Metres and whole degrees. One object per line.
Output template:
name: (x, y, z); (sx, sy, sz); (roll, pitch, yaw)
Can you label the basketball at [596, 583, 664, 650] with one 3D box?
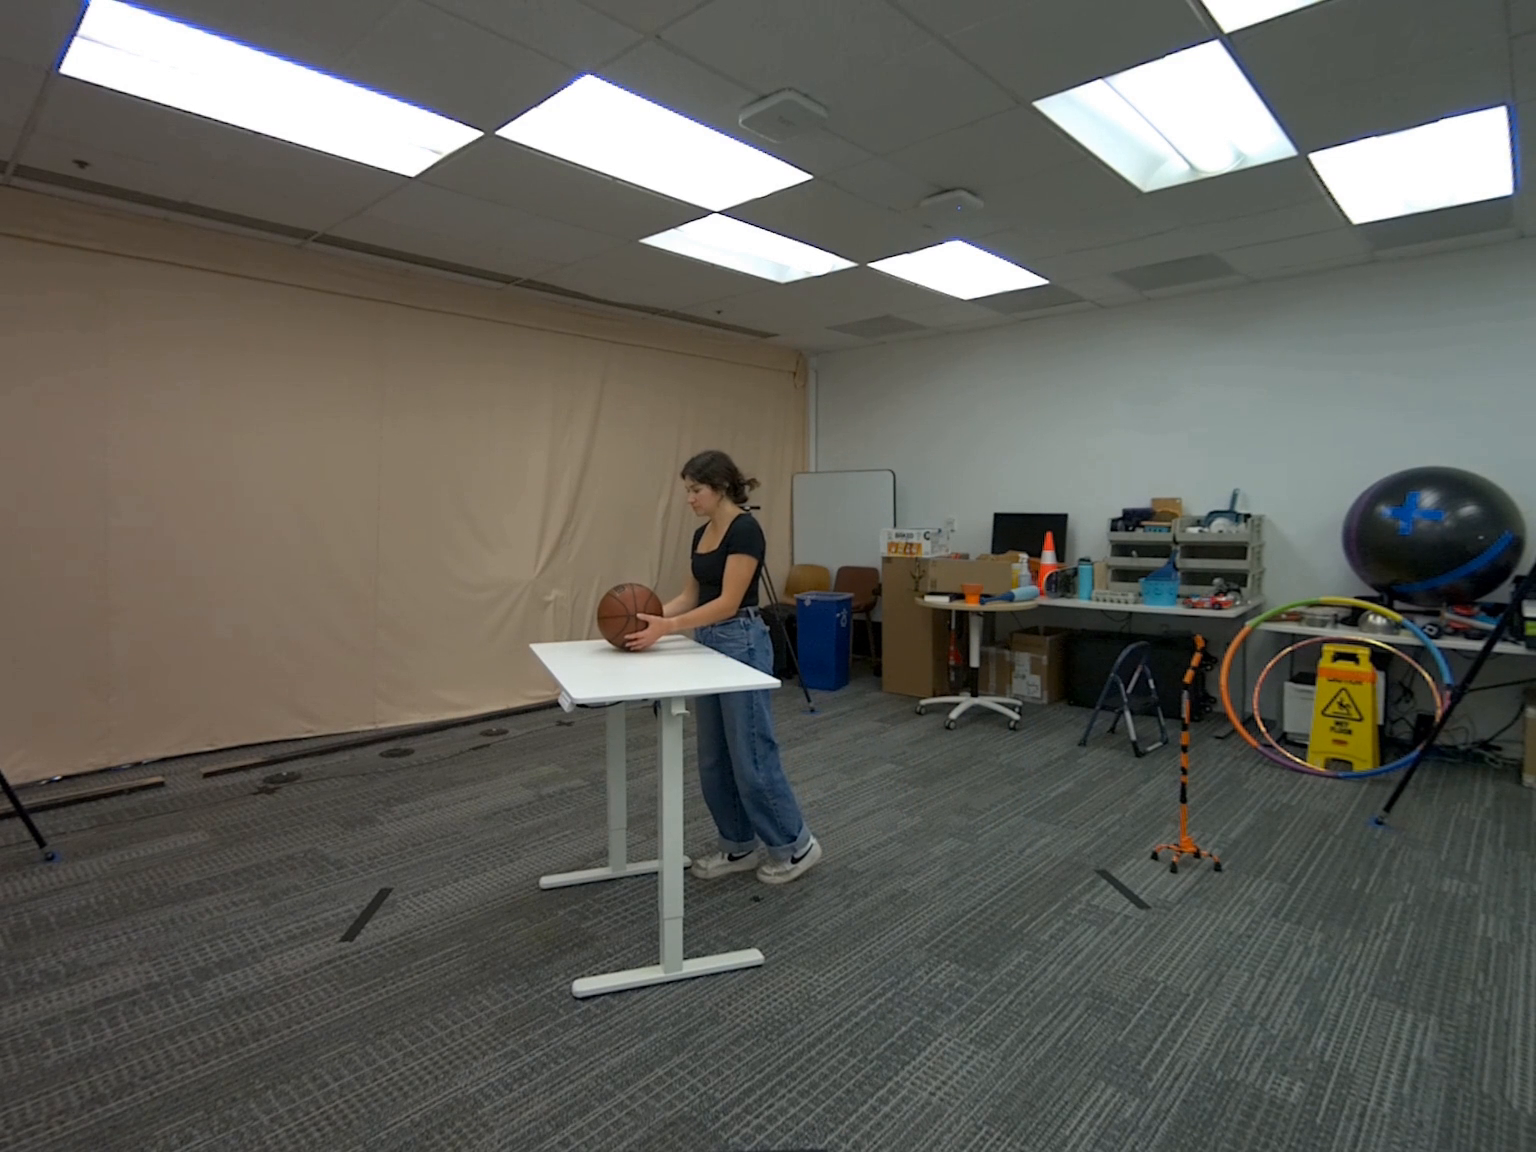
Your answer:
basketball: (-0.486, 0.142, 3.012); (0.236, 0.235, 0.237); (0, 4, -2)
